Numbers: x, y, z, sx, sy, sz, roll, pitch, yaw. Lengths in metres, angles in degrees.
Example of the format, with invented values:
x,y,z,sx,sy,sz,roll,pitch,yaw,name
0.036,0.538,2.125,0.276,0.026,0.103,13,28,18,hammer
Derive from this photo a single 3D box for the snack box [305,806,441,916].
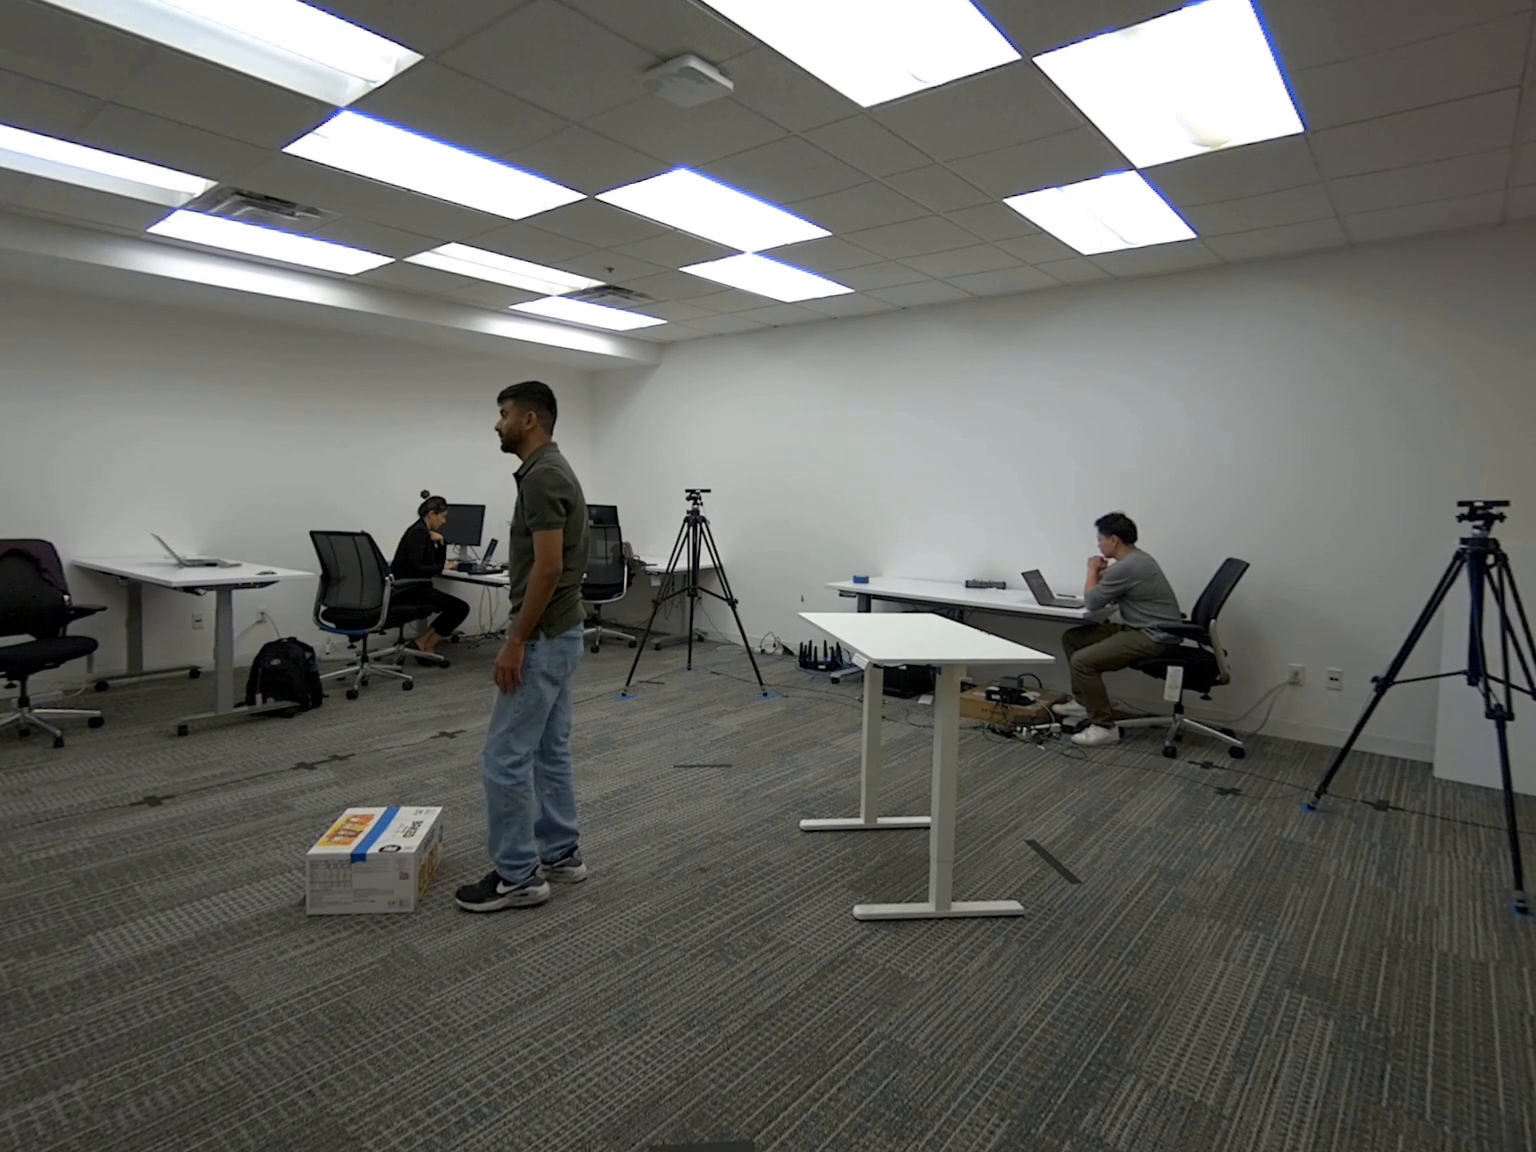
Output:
x,y,z,sx,sy,sz,roll,pitch,yaw,name
-1.361,0.974,2.938,0.338,0.205,0.410,0,5,-7,snack box
